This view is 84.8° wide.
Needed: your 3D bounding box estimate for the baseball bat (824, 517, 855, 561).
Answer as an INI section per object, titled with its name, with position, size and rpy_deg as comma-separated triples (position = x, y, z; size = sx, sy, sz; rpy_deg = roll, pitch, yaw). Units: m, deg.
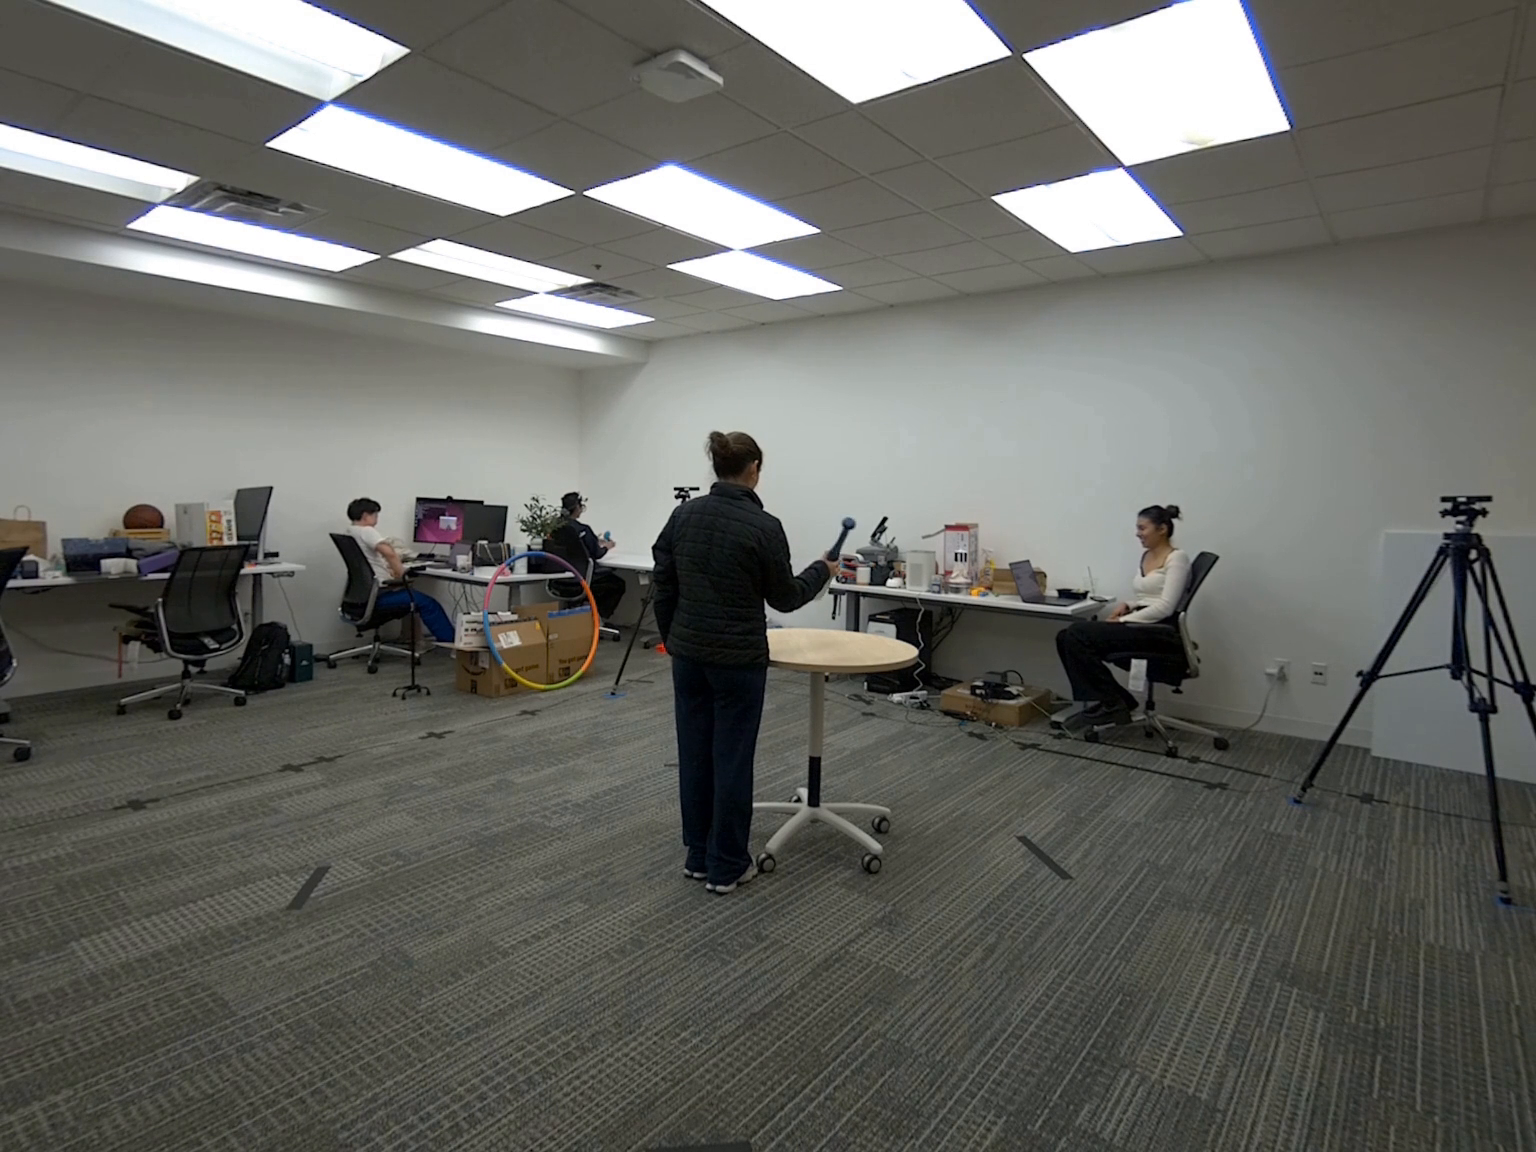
[baseball bat]
position = 0.246, -0.067, 3.296
size = 0.088, 0.091, 0.534
rpy_deg = 1, -29, -10
